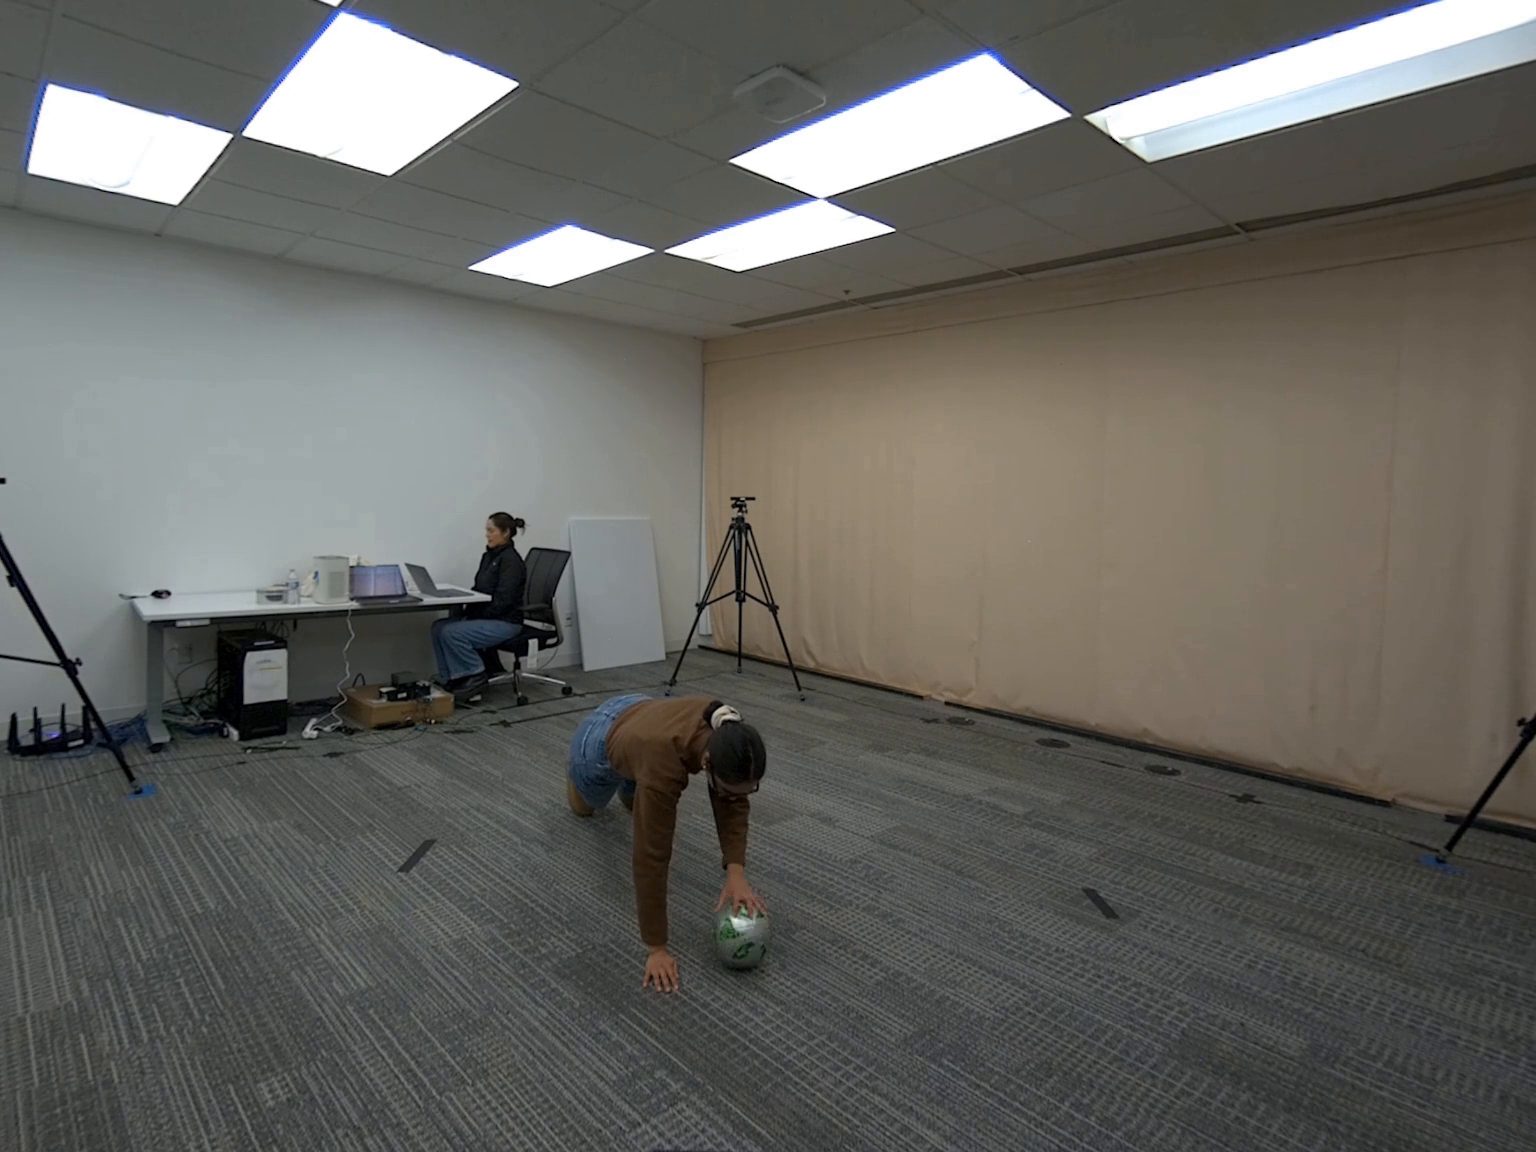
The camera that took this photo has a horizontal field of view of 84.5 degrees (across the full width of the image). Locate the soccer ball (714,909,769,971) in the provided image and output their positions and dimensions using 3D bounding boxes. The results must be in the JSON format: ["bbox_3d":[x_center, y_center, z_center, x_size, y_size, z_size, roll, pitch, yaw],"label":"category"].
[{"bbox_3d":[-0.077,1.071,2.514,0.187,0.187,0.188,1,4,-1],"label":"soccer ball"}]
